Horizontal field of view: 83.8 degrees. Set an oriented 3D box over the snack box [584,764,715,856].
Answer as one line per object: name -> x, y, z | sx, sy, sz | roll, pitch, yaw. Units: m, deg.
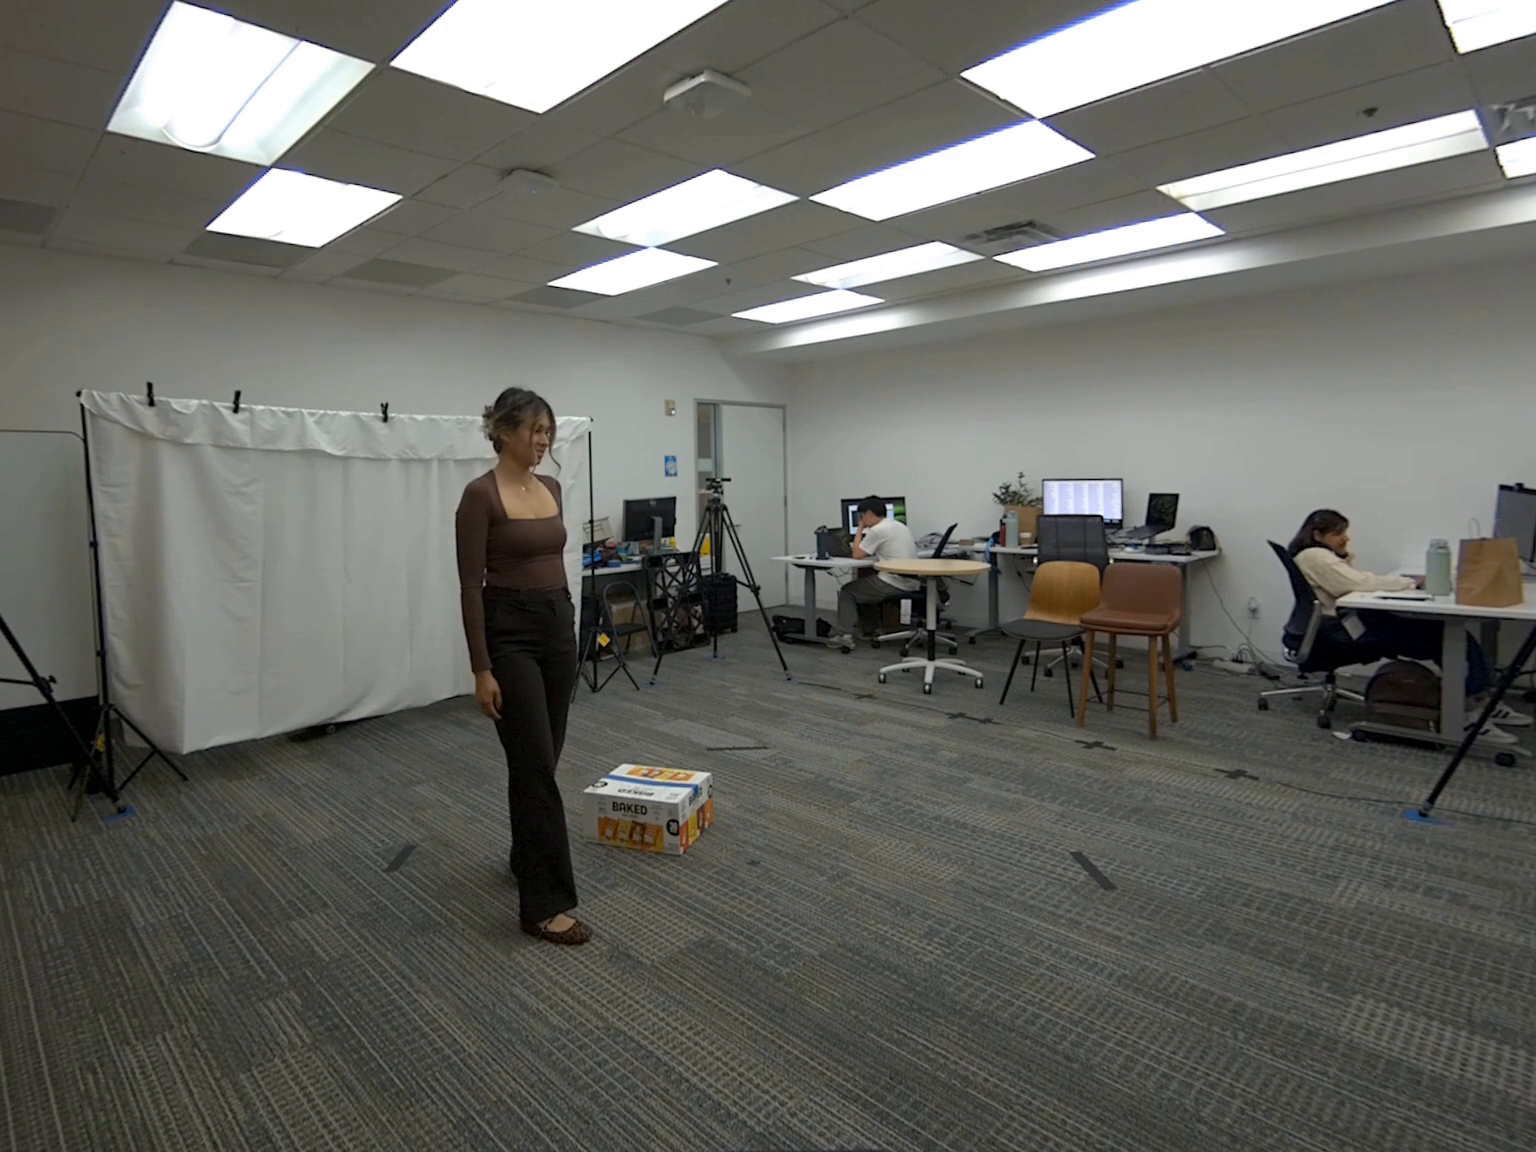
snack box -> -0.468, 0.915, 3.386 | 0.413, 0.205, 0.335 | 1, 6, 19
